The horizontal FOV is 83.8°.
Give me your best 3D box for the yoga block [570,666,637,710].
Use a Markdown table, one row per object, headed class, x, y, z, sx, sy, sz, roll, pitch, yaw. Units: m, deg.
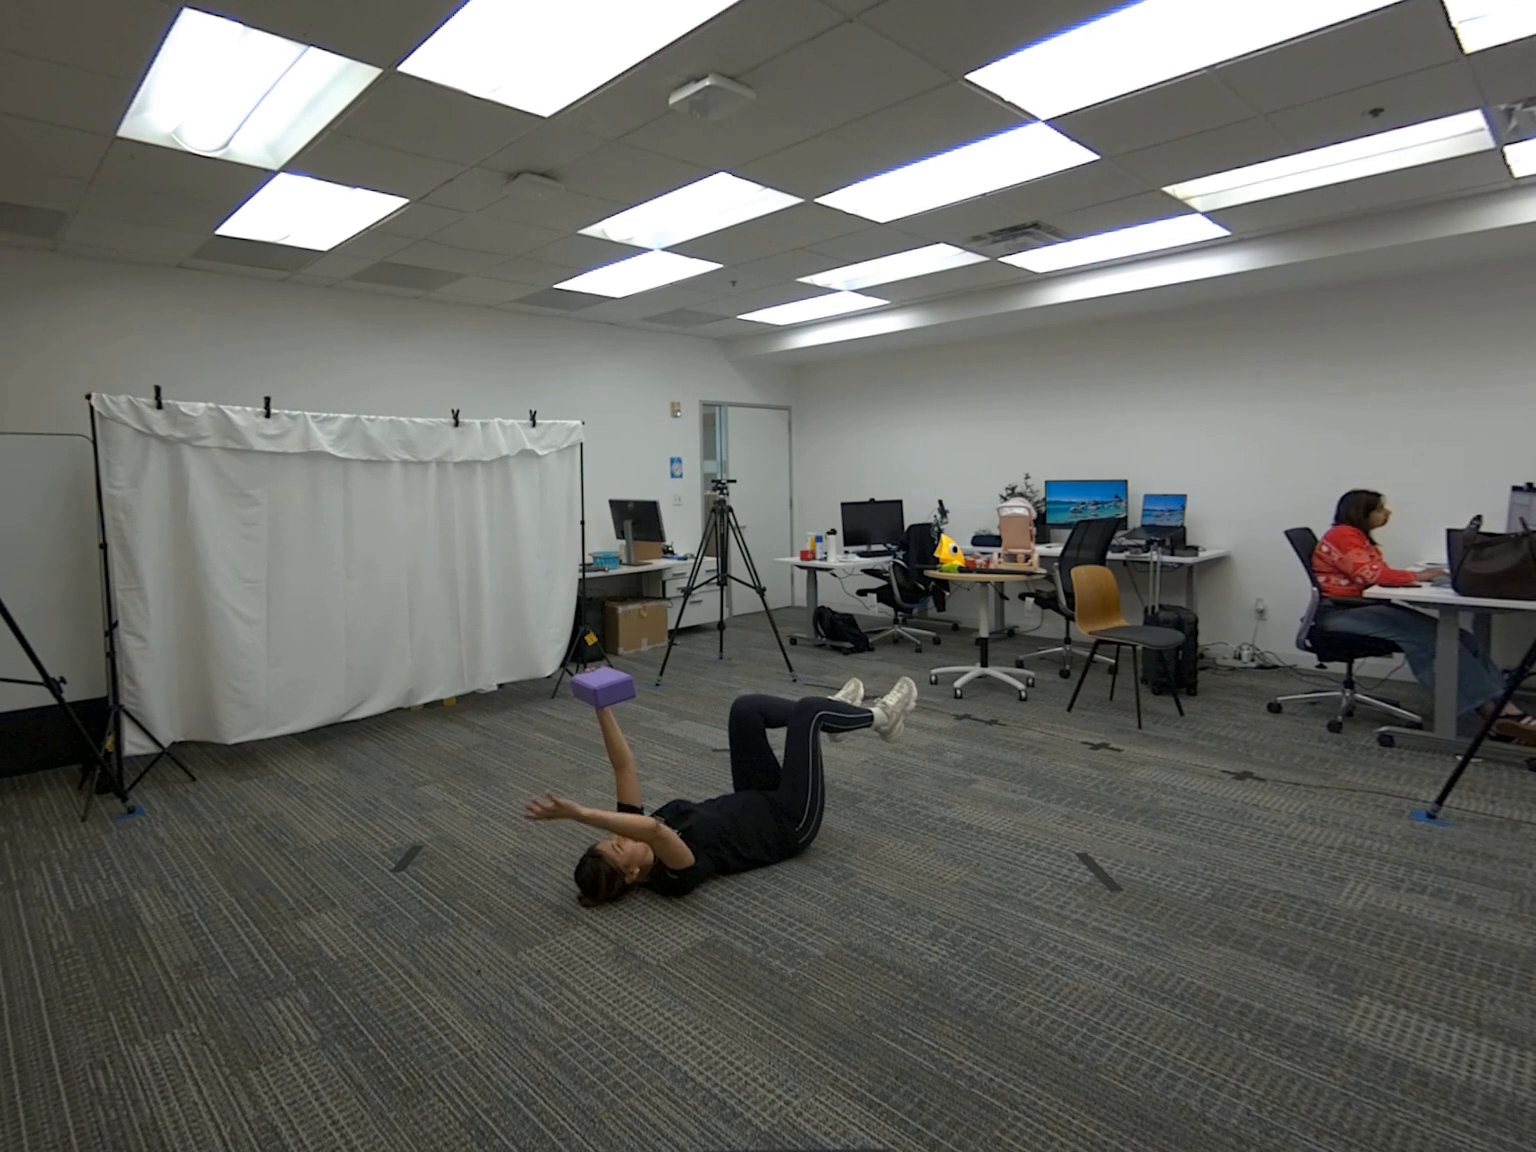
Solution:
| class | x | y | z | sx | sy | sz | roll | pitch | yaw |
| --- | --- | --- | --- | --- | --- | --- | --- | --- | --- |
| yoga block | -0.574 | 0.379 | 2.905 | 0.146 | 0.076 | 0.235 | -13 | 10 | -28 |
